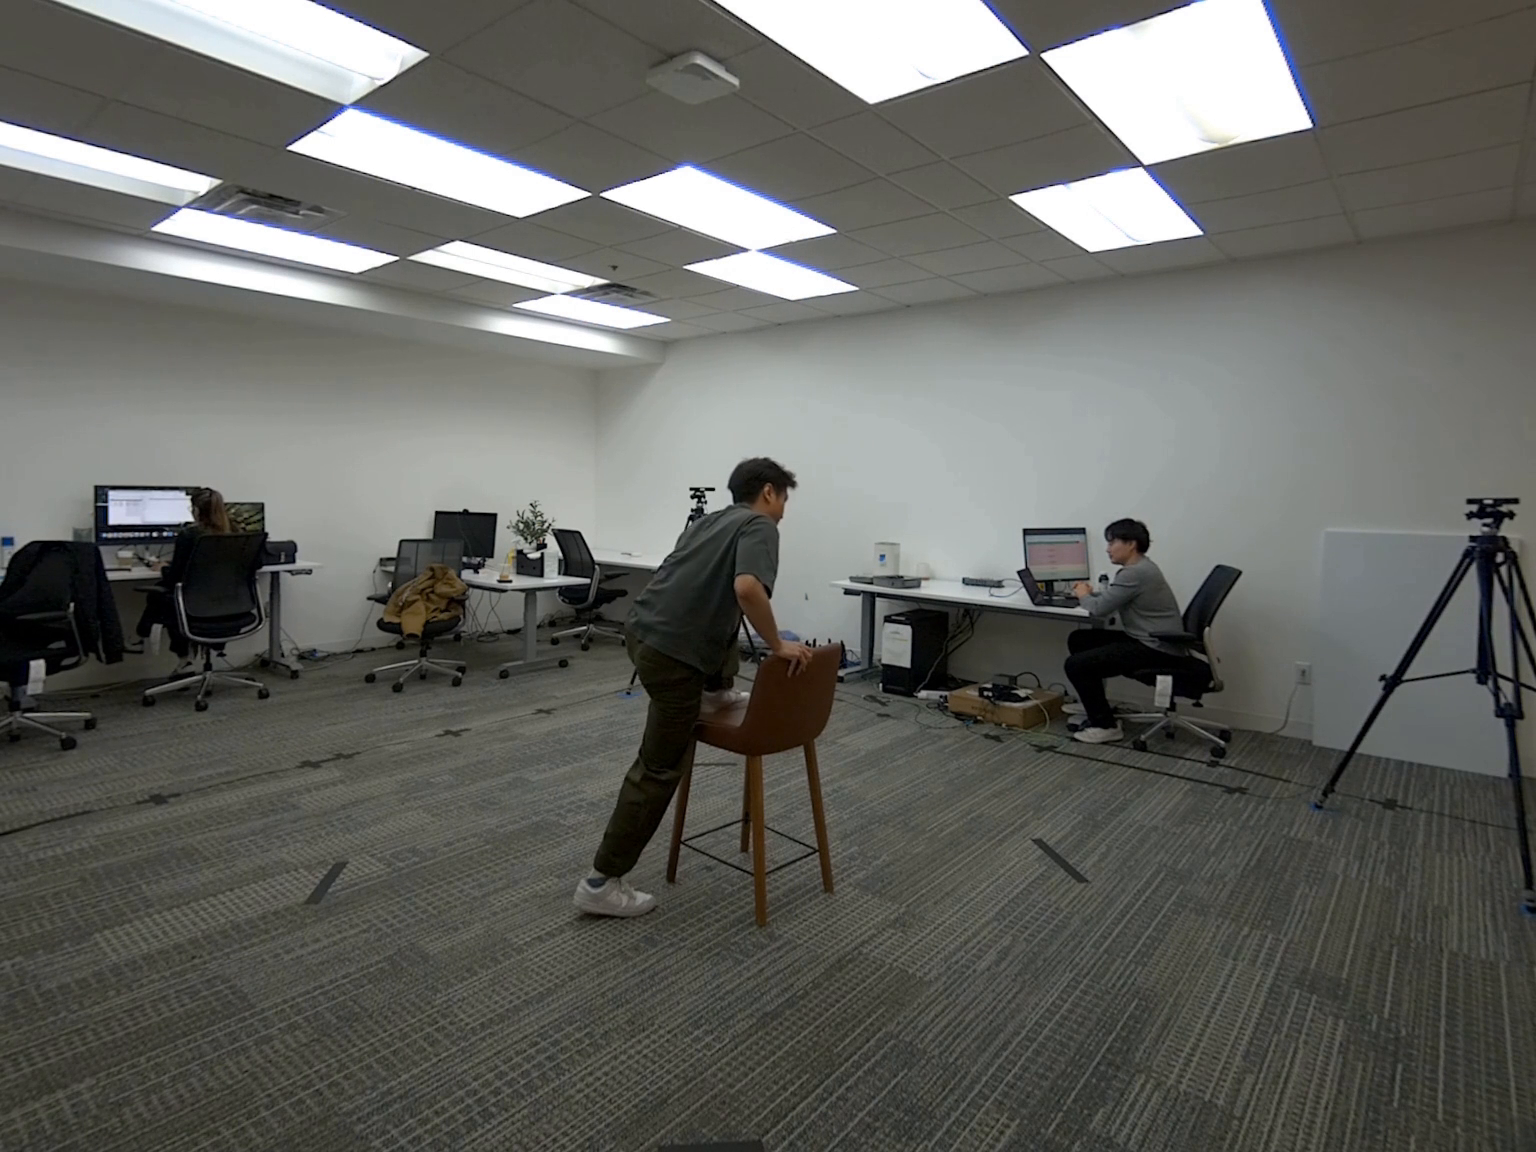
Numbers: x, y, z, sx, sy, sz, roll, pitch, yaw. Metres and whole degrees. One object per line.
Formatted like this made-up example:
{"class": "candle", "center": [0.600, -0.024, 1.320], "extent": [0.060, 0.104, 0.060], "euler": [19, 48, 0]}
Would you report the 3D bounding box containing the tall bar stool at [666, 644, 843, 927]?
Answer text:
{"class": "tall bar stool", "center": [-0.049, 0.648, 2.959], "extent": [0.484, 0.886, 0.442], "euler": [8, 6, 44]}
